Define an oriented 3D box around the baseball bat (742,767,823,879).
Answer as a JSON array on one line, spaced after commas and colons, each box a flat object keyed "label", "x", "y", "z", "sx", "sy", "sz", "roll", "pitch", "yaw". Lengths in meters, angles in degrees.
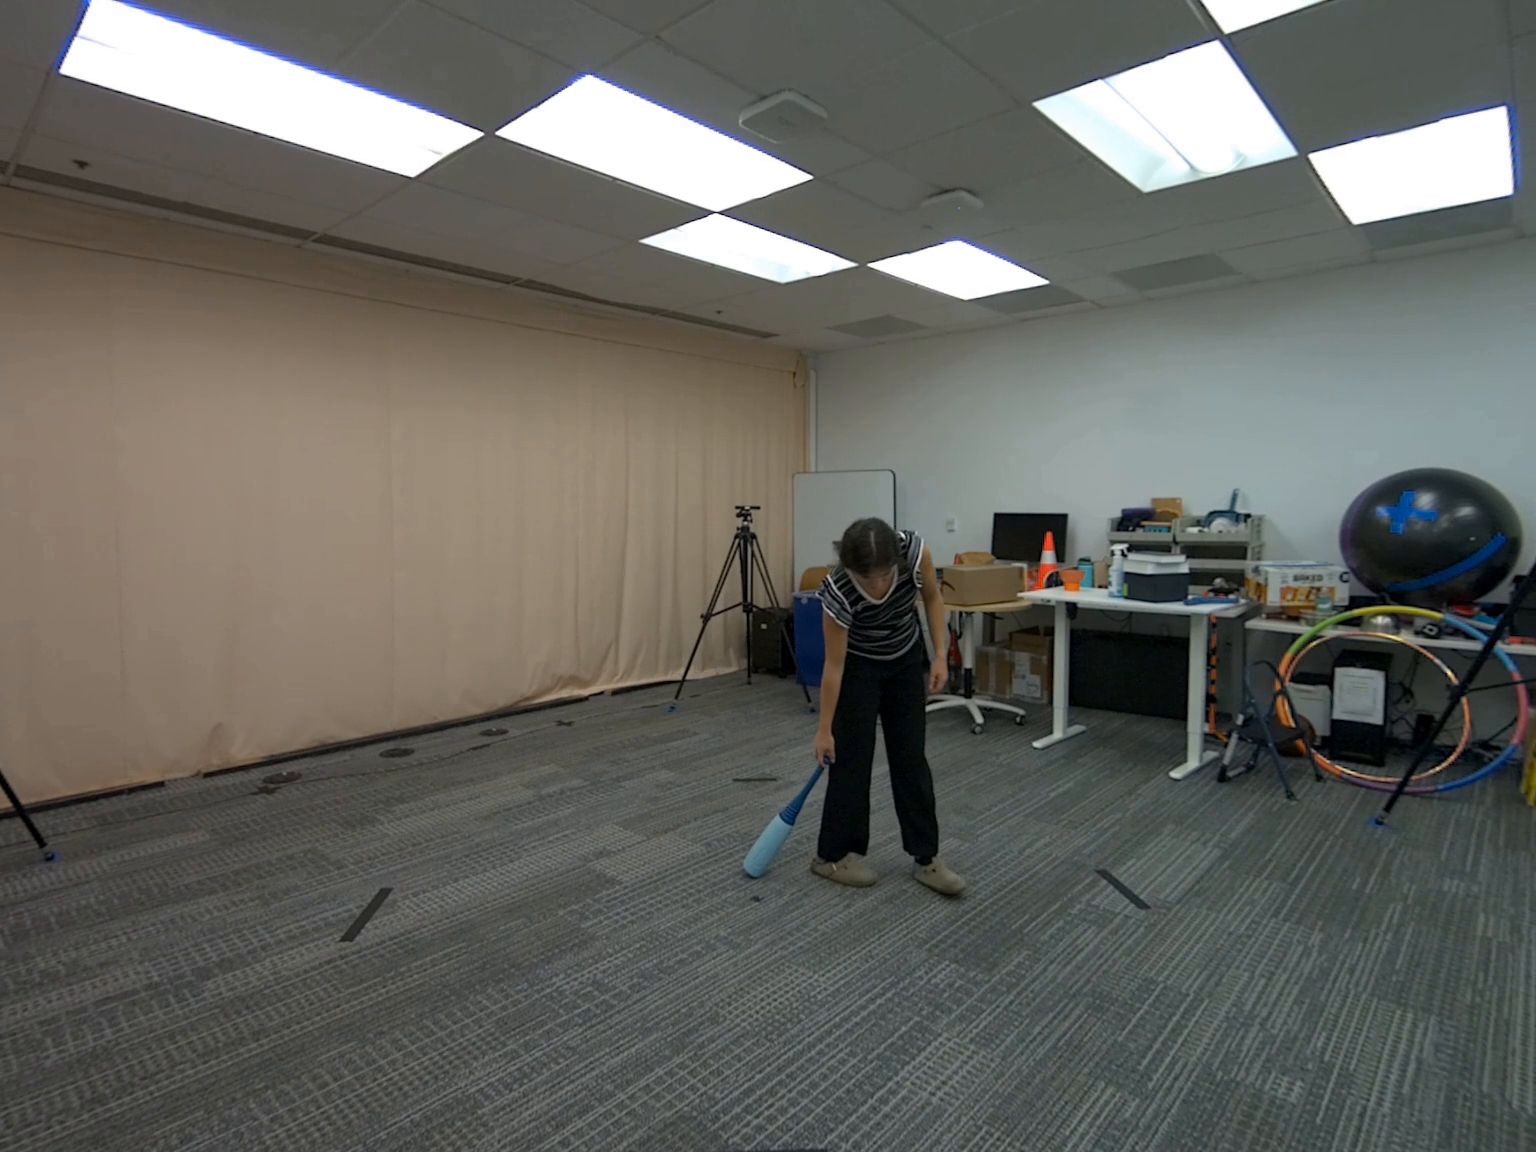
[{"label": "baseball bat", "x": 0.087, "y": 0.895, "z": 3.133, "sx": 0.088, "sy": 0.543, "sz": 0.090, "roll": 32, "pitch": 9, "yaw": -8}]
